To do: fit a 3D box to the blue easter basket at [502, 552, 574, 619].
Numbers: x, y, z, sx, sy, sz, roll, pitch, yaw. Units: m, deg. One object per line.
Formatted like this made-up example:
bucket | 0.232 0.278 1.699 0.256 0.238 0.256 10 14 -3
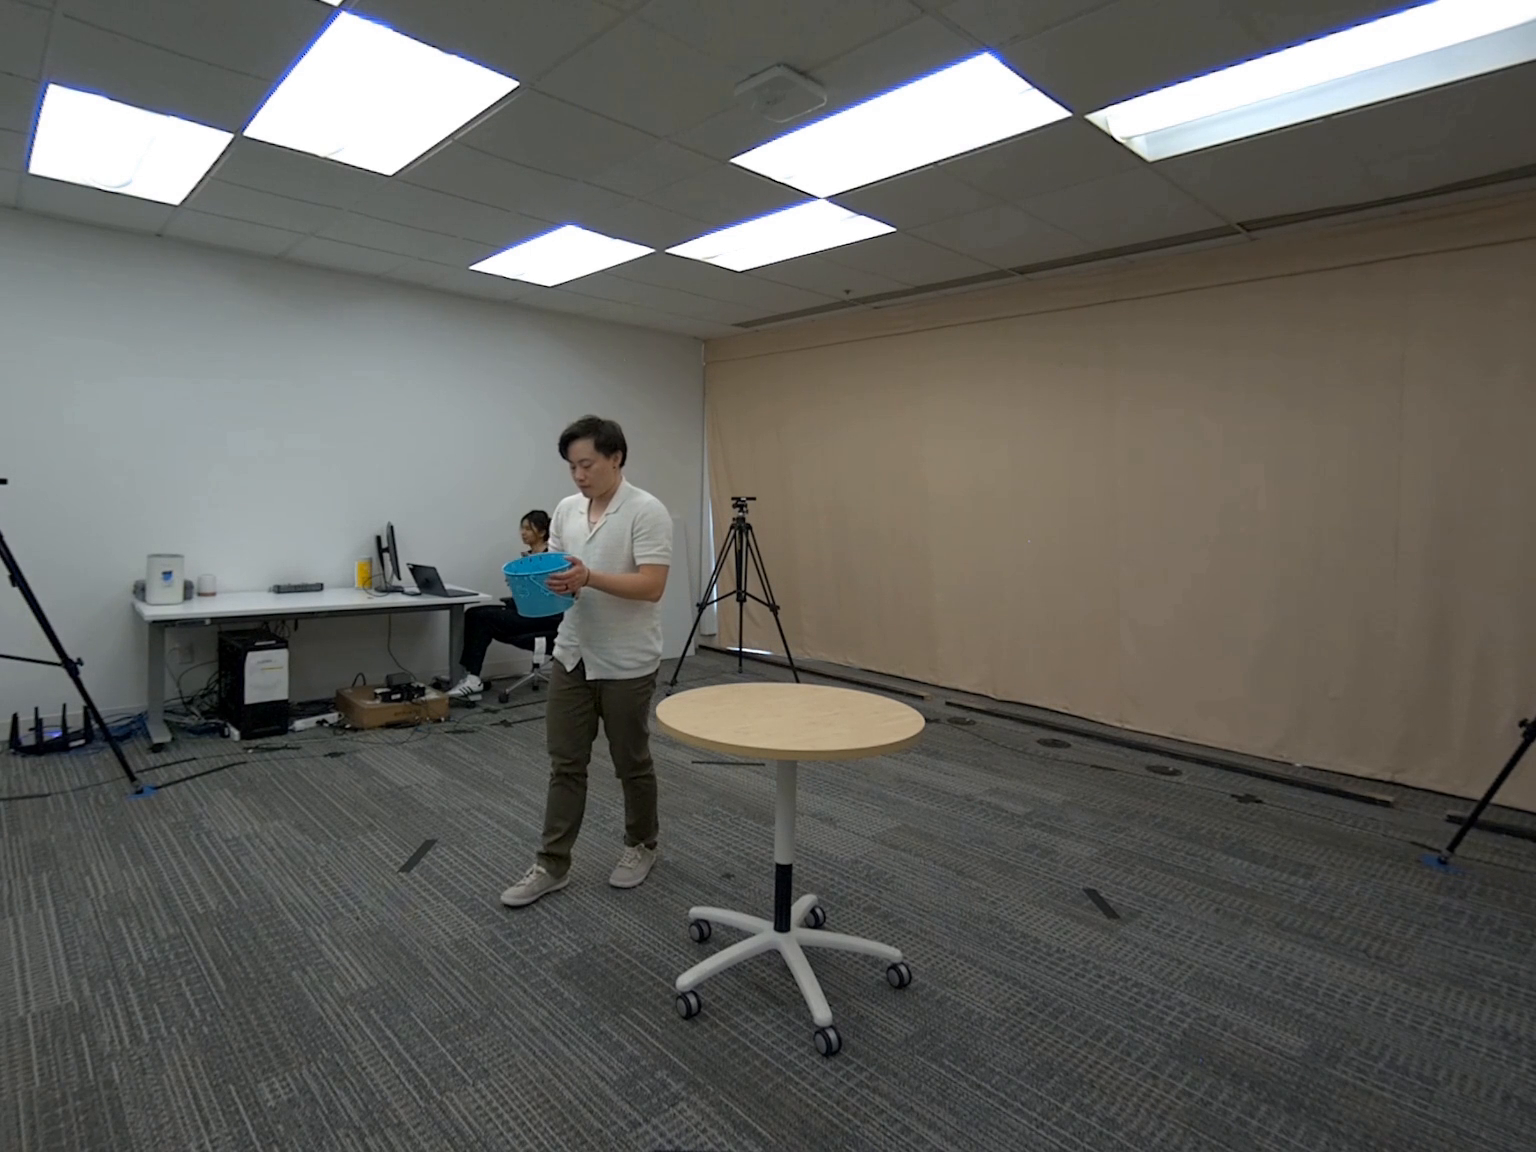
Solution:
blue easter basket | -0.737 0.035 2.724 0.244 0.154 0.246 -6 17 0
